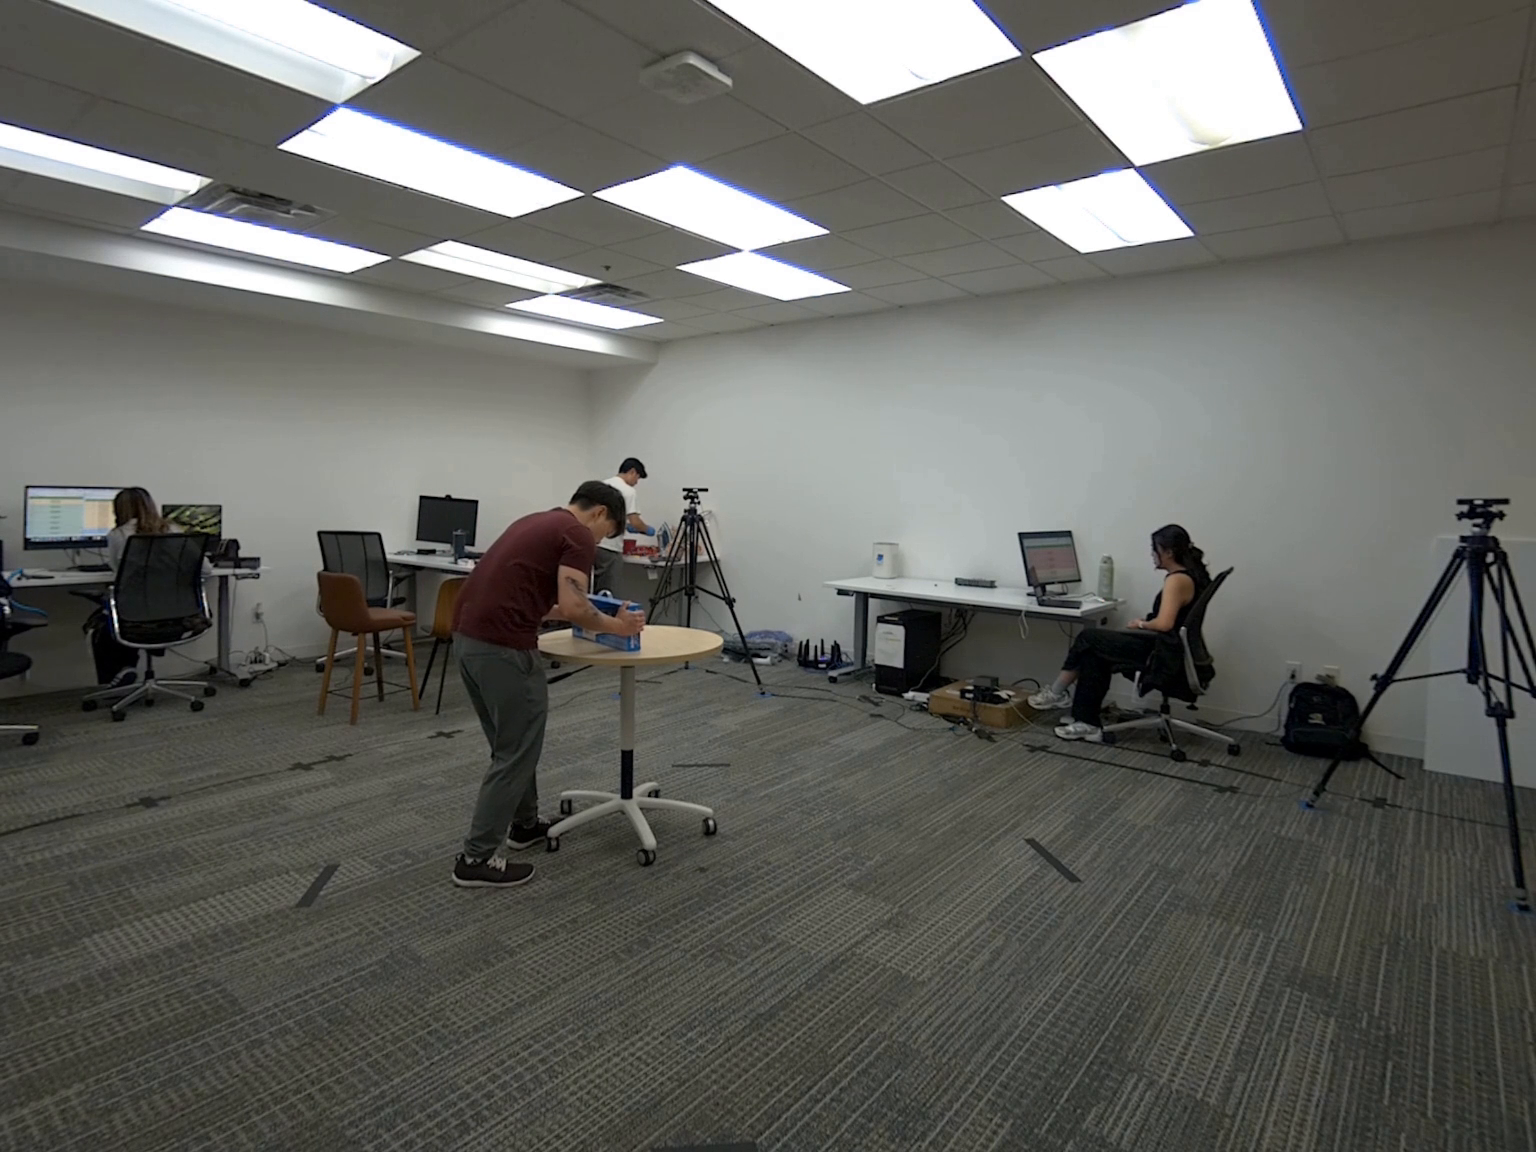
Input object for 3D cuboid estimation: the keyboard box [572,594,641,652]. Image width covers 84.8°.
[{"bbox_3d":[-0.654,0.181,3.332,0.057,0.175,0.452,-1,5,-40],"label":"keyboard box"}]
